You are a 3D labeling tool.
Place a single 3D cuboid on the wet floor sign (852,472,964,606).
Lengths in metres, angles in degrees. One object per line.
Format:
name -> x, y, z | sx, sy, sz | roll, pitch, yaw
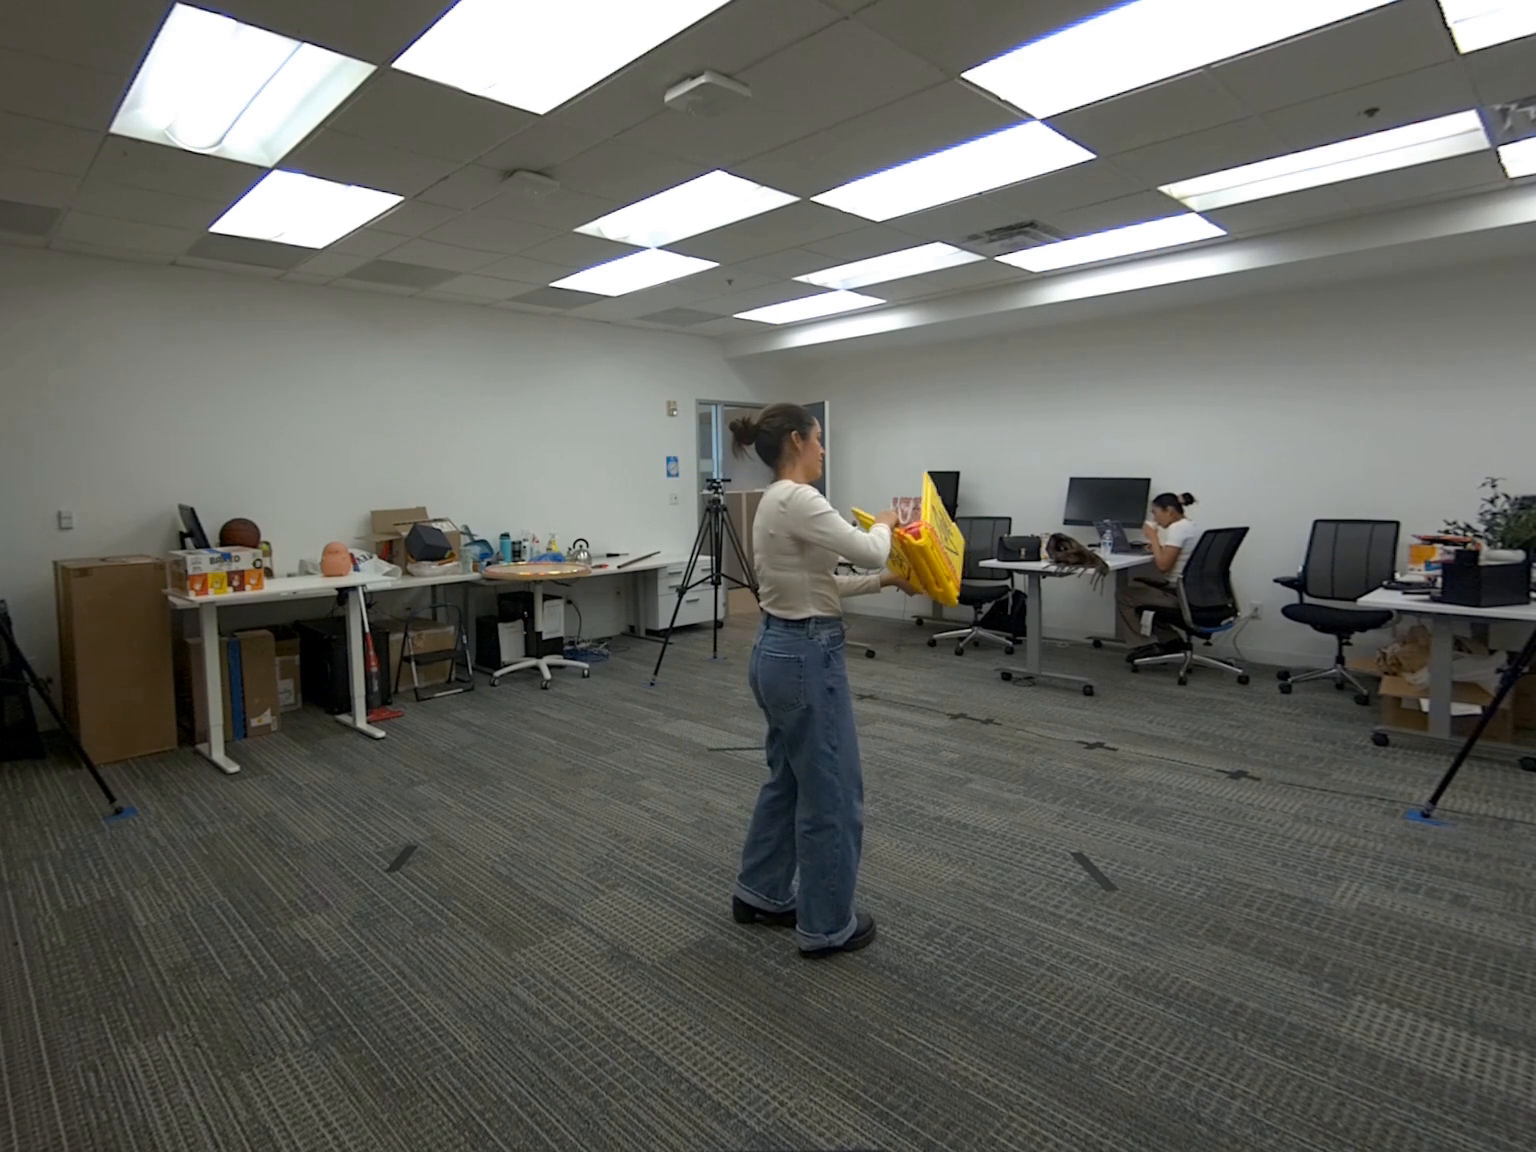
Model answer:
wet floor sign -> 0.467, -0.081, 2.596 | 0.291, 0.278, 0.652 | -28, 12, 9
